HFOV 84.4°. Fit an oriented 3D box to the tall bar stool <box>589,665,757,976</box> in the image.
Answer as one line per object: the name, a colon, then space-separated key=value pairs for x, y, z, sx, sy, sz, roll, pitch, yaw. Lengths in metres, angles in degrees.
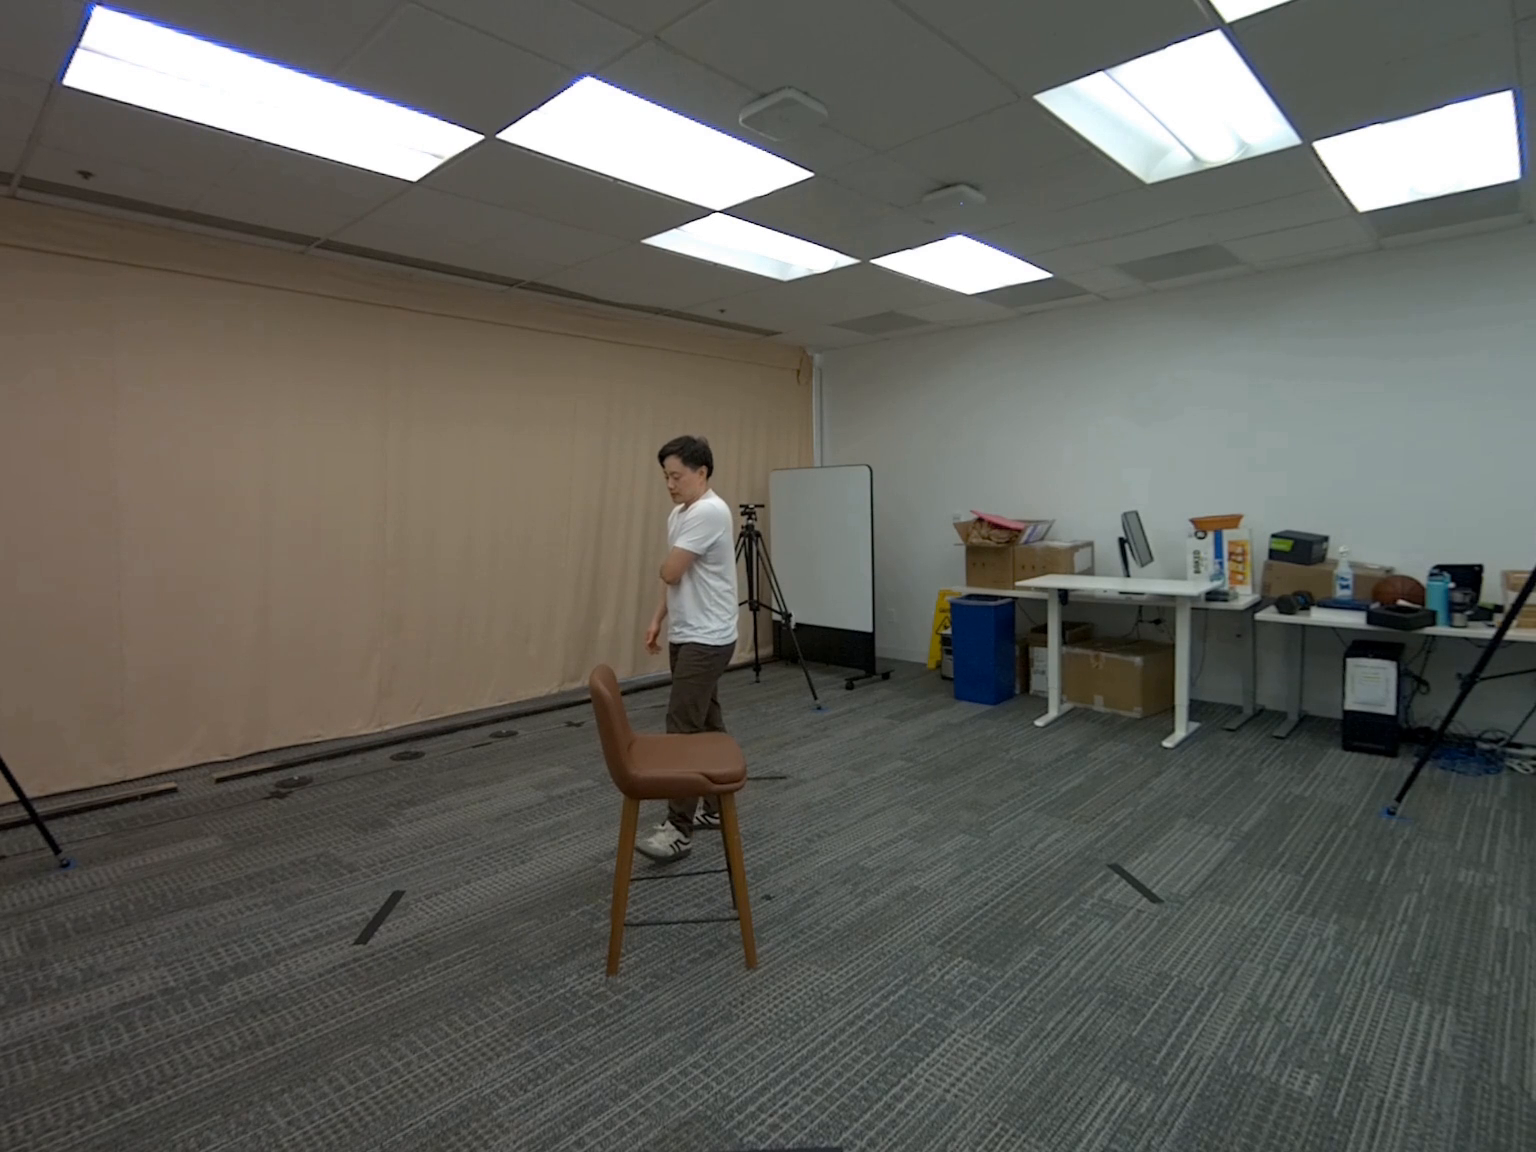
tall bar stool: x=-0.295 y=0.737 z=2.683 sx=0.464 sy=0.888 sz=0.461 roll=-3 pitch=3 yaw=-7
